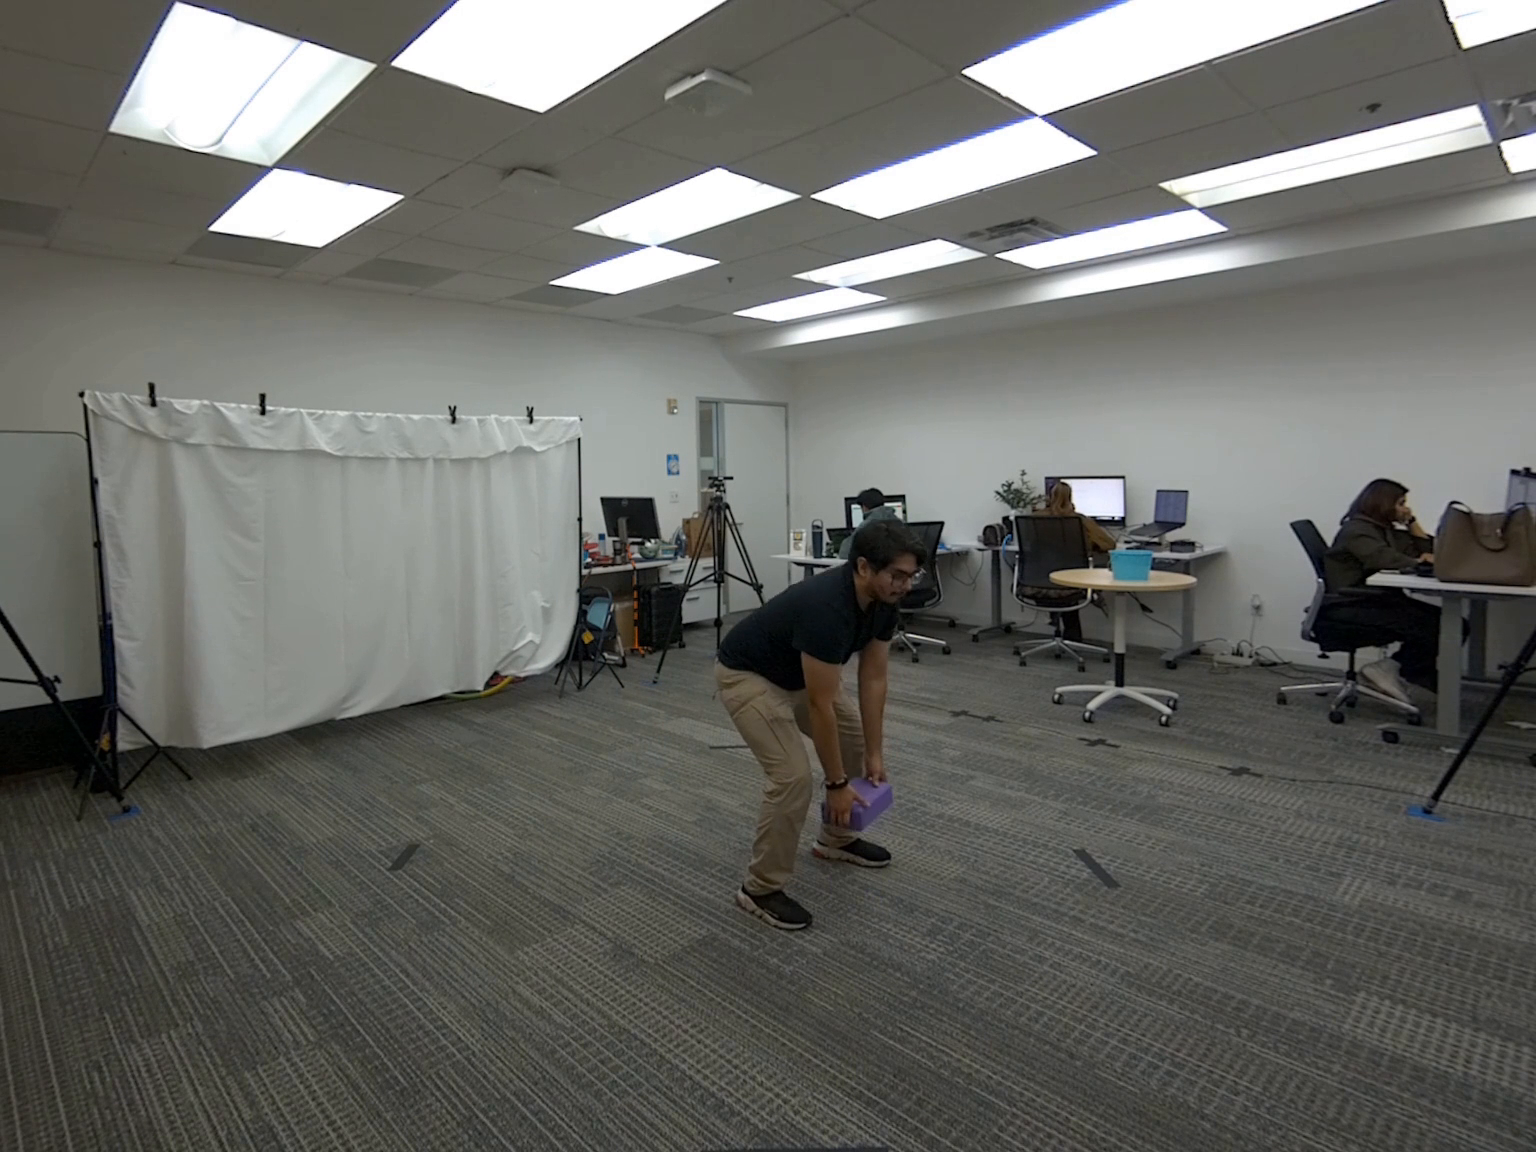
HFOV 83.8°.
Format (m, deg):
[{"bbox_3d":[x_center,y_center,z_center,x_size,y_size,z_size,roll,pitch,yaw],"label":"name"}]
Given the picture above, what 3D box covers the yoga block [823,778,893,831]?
[{"bbox_3d":[0.295,0.747,2.787,0.153,0.076,0.225,4,12,34],"label":"yoga block"}]
